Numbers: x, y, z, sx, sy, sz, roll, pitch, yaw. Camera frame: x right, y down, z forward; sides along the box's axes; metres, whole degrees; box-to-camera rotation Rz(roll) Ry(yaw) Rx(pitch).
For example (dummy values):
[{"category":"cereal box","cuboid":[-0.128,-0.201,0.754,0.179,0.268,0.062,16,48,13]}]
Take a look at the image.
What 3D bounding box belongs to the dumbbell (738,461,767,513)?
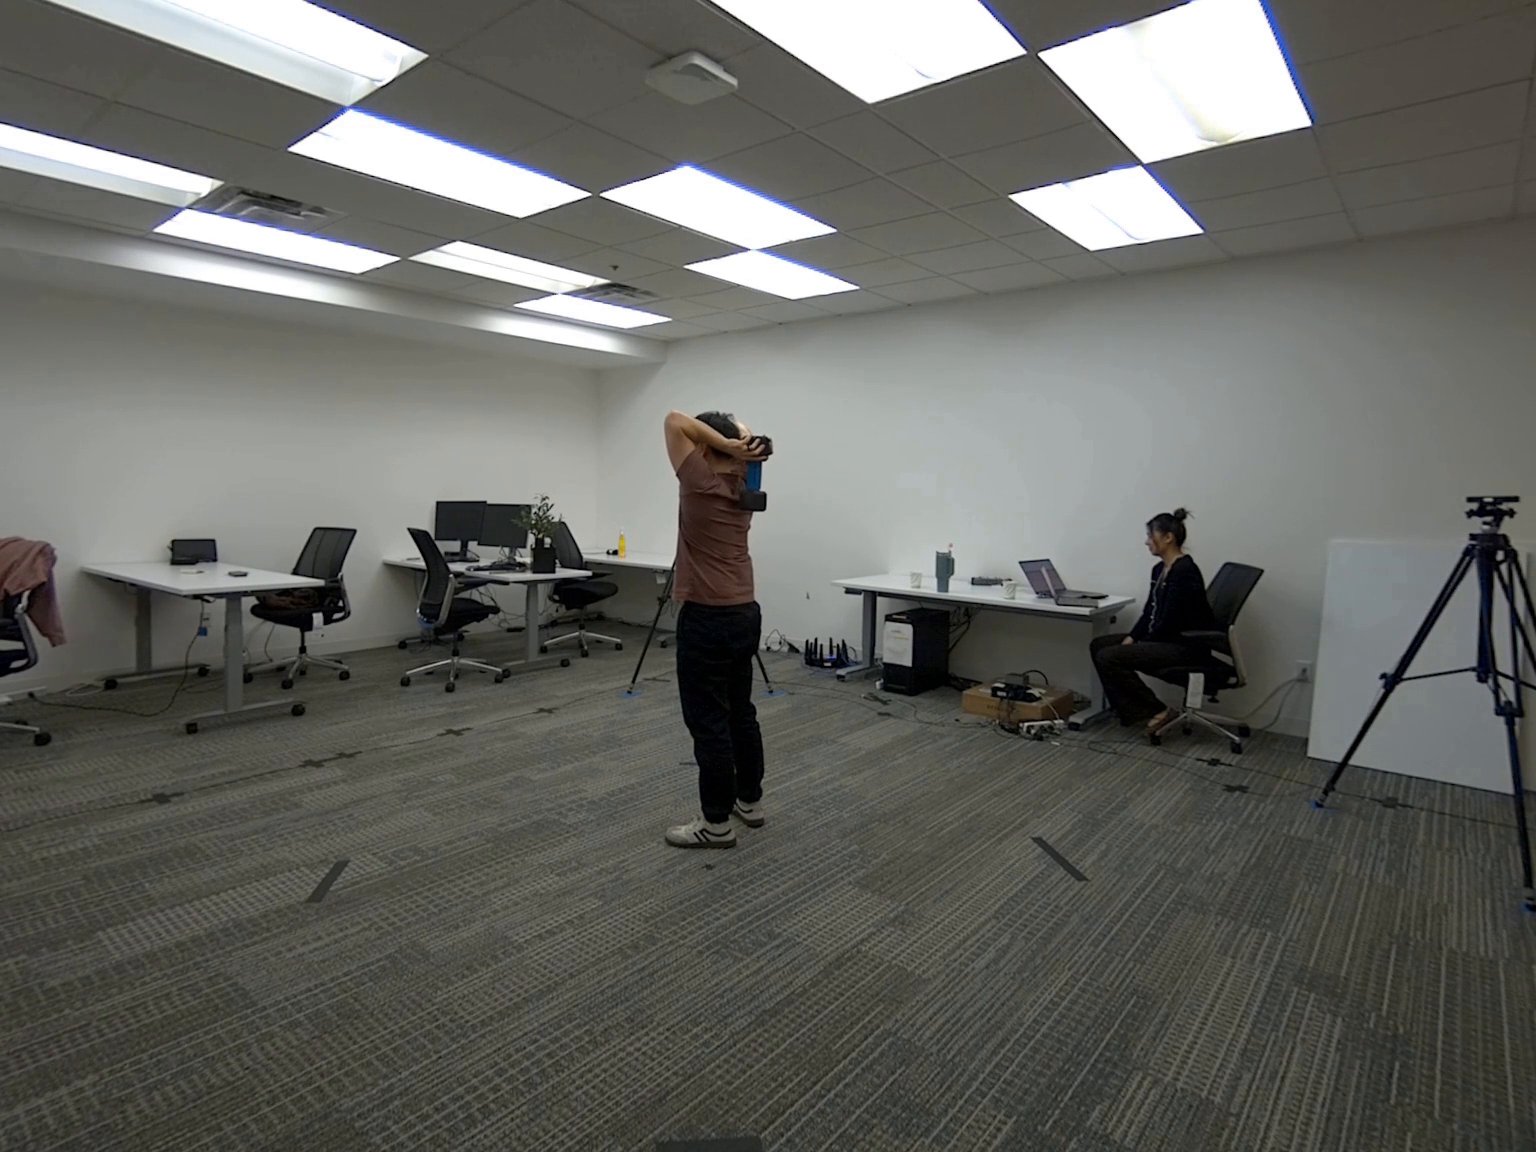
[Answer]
[{"category":"dumbbell","cuboid":[-0.071,-0.404,3.326,0.126,0.293,0.106,3,2,26]}]
